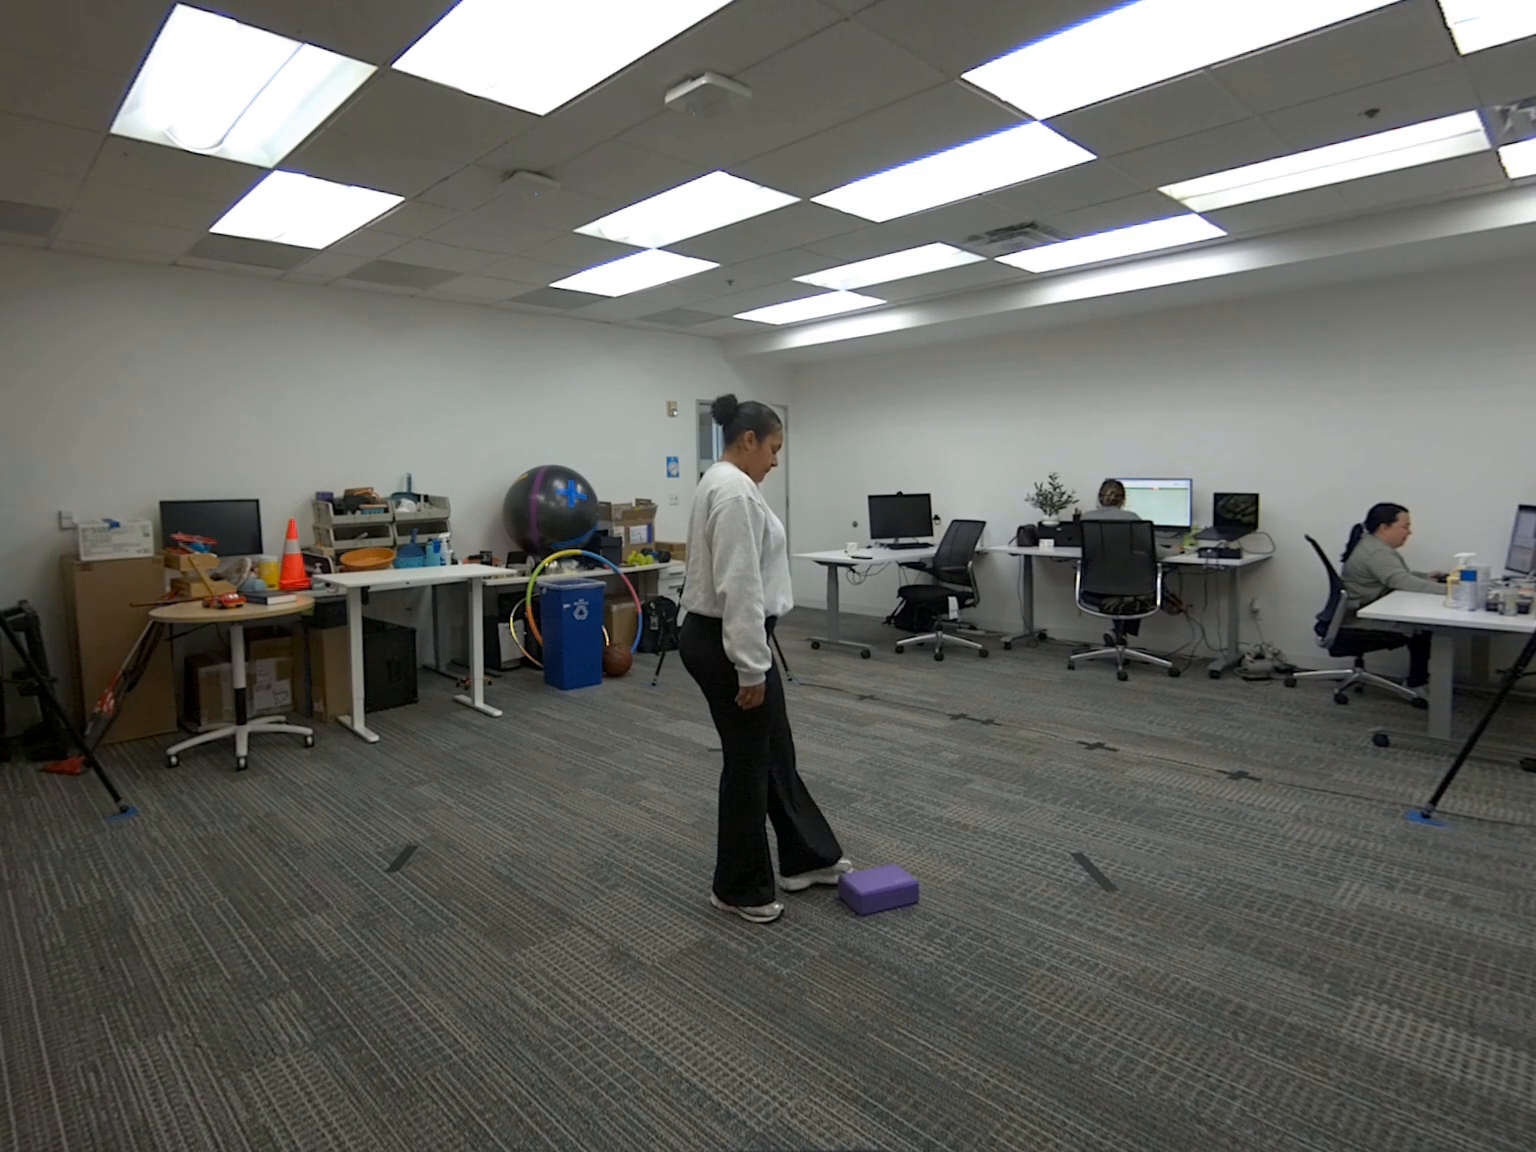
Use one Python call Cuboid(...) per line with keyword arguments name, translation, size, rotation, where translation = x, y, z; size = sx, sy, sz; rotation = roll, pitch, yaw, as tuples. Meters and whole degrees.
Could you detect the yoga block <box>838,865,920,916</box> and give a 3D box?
Cuboid(name="yoga block", translation=(0.346, 1.020, 2.823), size=(0.225, 0.076, 0.152), rotation=(-2, 3, -23))
